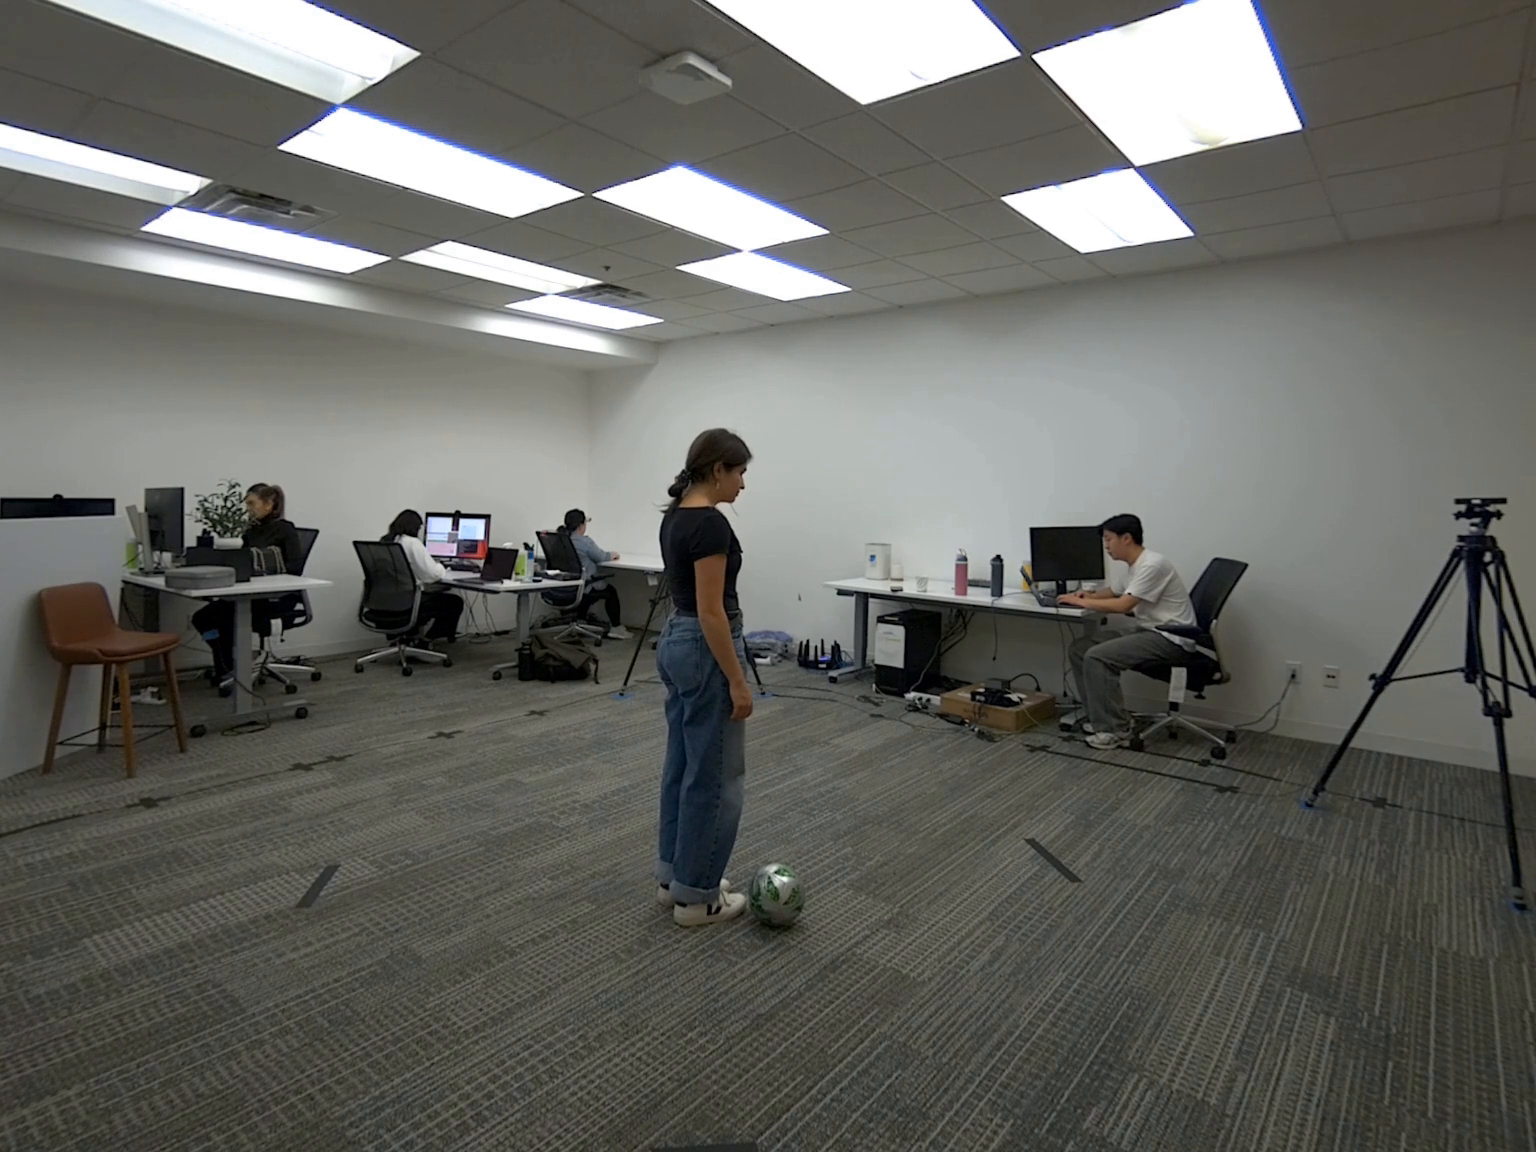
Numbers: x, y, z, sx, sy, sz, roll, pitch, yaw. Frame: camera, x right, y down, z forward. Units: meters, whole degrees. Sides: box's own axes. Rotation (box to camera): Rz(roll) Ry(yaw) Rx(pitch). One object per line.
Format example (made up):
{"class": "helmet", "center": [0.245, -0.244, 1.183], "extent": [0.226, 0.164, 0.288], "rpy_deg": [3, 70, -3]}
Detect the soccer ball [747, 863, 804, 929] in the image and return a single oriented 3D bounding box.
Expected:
{"class": "soccer ball", "center": [0.027, 1.023, 2.730], "extent": [0.187, 0.187, 0.188], "rpy_deg": [1, 4, -2]}
